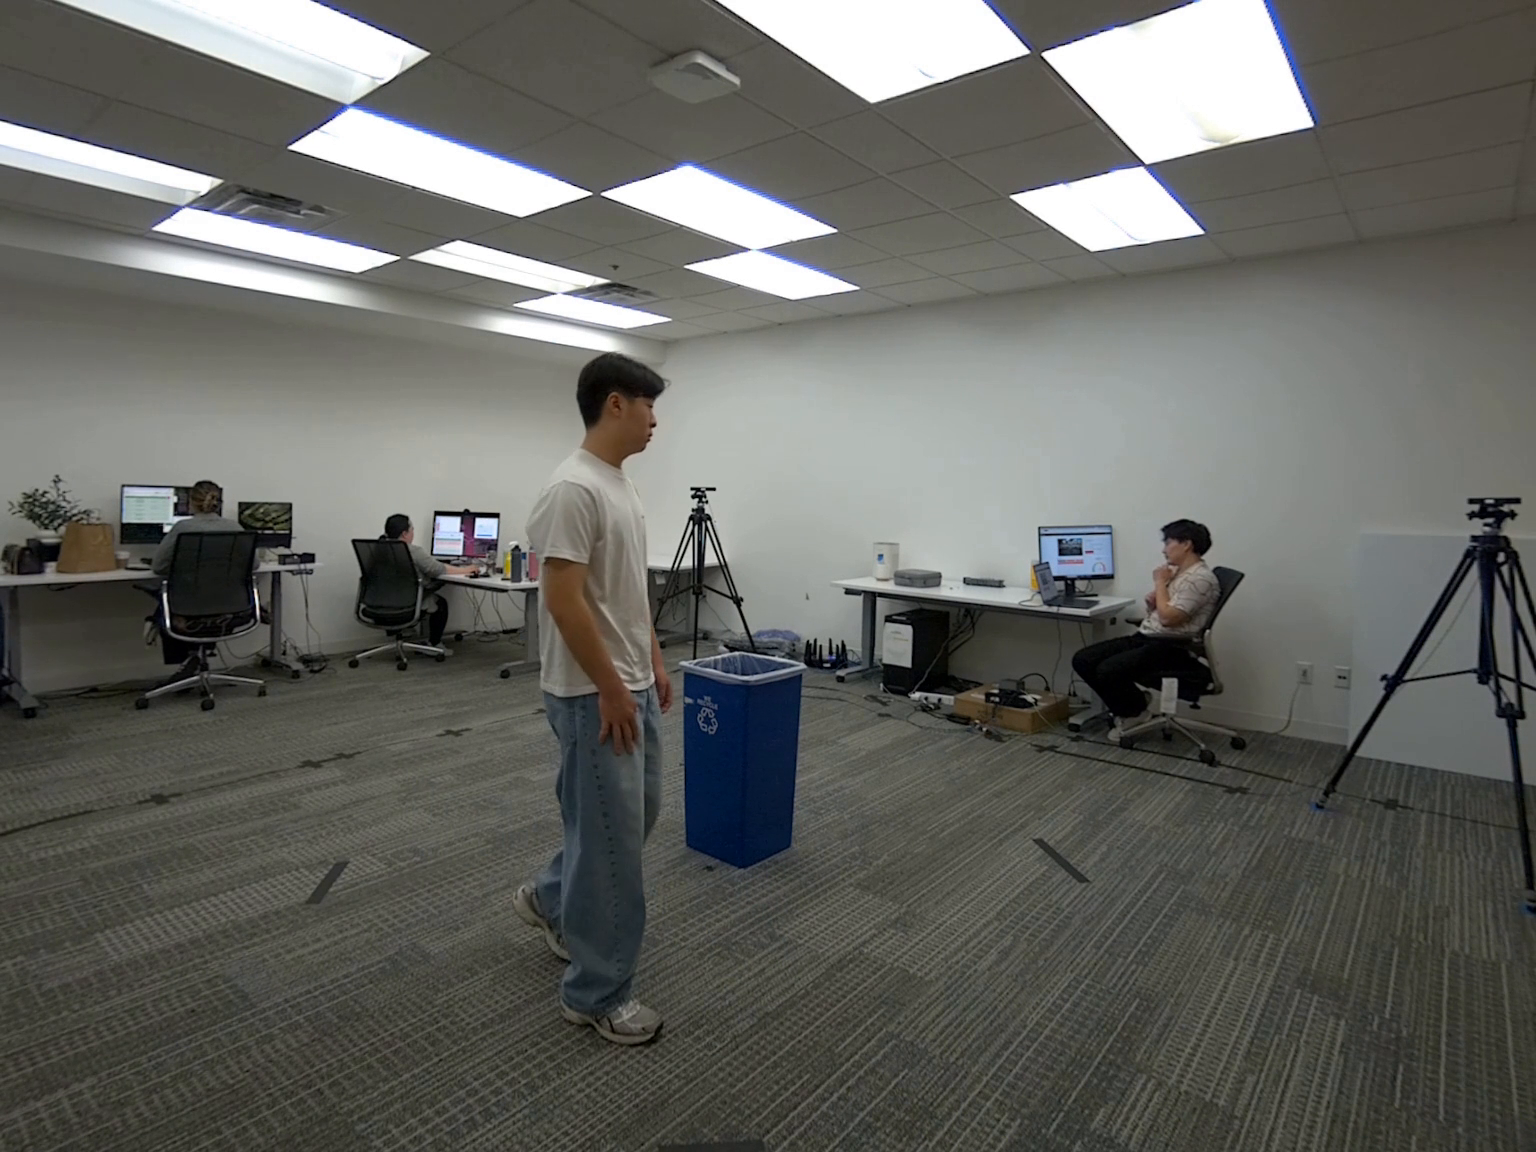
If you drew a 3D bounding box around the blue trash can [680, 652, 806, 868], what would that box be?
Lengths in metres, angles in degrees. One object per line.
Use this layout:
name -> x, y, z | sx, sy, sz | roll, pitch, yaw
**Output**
blue trash can -> -0.107, 0.691, 3.293 | 0.386, 0.711, 0.367 | 4, 4, 40
